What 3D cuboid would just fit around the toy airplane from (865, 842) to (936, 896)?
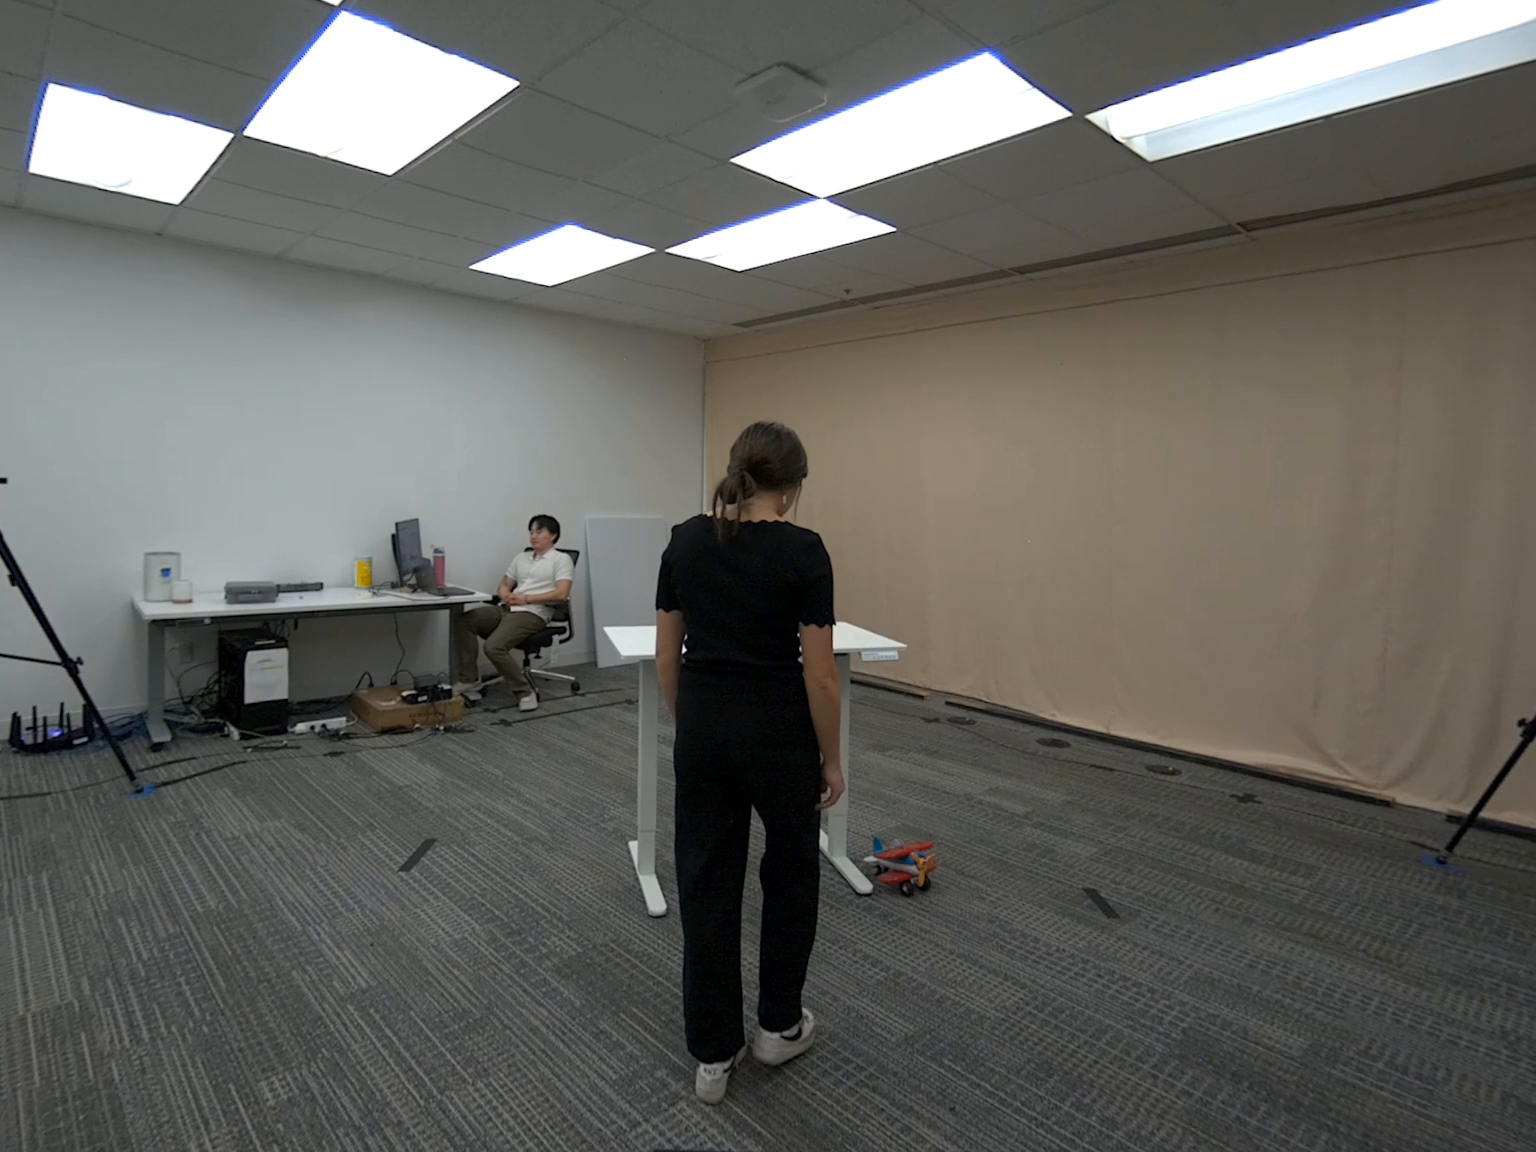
[{"bbox_3d":[0.449,1.050,3.060,0.265,0.156,0.247,6,6,27],"label":"toy airplane"}]
